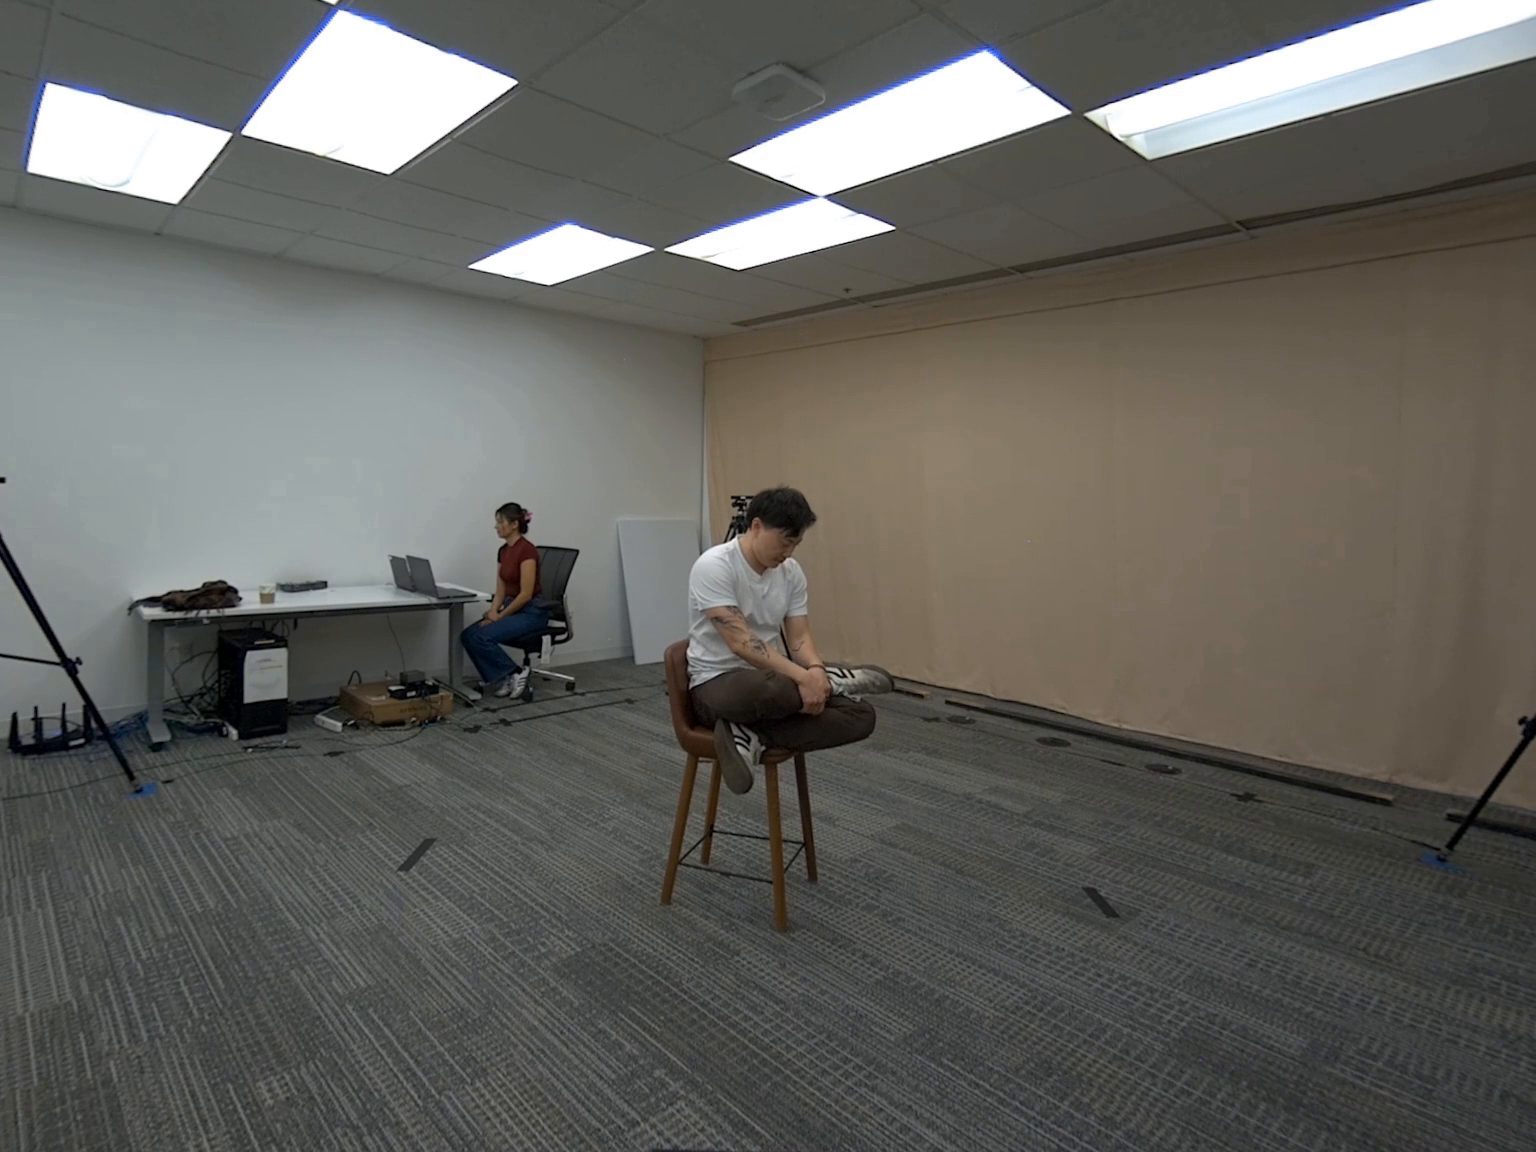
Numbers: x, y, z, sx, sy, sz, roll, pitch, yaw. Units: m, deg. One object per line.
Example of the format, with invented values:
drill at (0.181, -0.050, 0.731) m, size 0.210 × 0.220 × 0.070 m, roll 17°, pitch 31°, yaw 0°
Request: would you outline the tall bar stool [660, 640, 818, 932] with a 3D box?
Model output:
tall bar stool at (-0.105, 0.688, 2.944) m, size 0.475 × 0.888 × 0.450 m, roll 0°, pitch 3°, yaw 22°
